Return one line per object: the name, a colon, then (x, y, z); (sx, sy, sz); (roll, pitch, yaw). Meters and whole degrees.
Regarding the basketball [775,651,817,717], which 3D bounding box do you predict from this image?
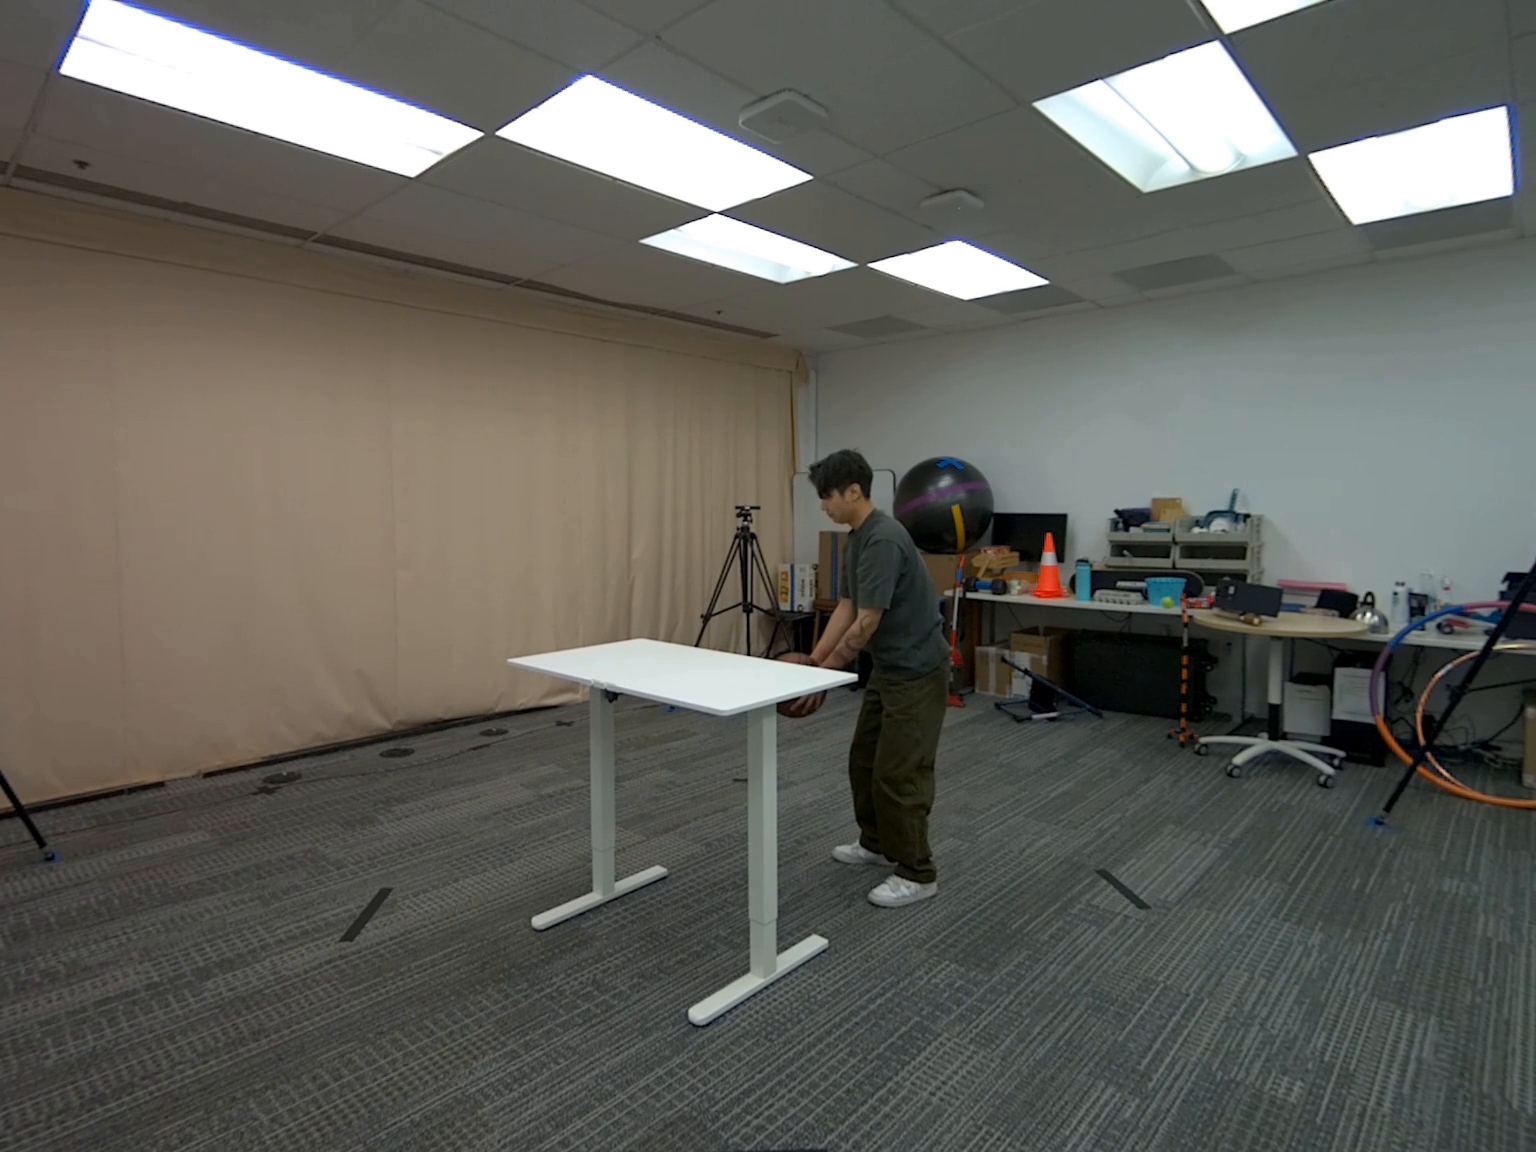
basketball: (0.131, 0.405, 3.113); (0.236, 0.235, 0.237); (0, 4, -2)
